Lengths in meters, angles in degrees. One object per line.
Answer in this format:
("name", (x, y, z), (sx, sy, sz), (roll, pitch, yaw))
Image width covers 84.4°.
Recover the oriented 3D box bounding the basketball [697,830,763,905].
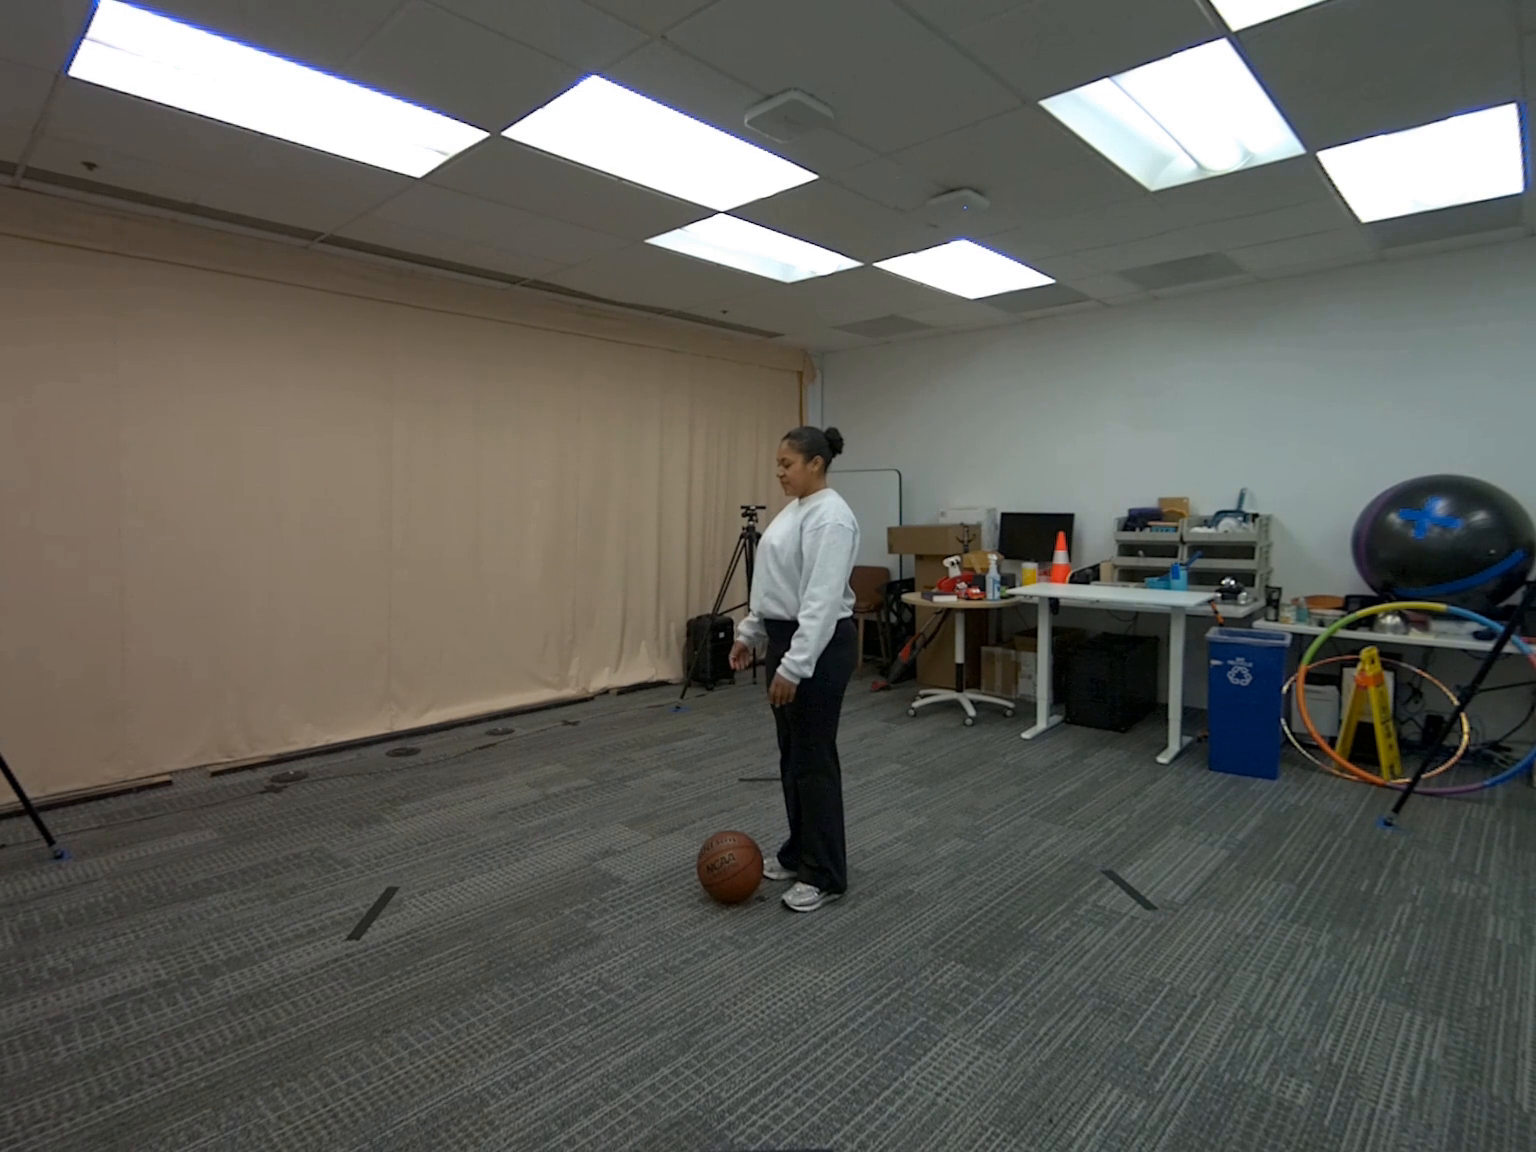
("basketball", (-0.131, 1.026, 2.980), (0.236, 0.235, 0.237), (0, 4, -2))
